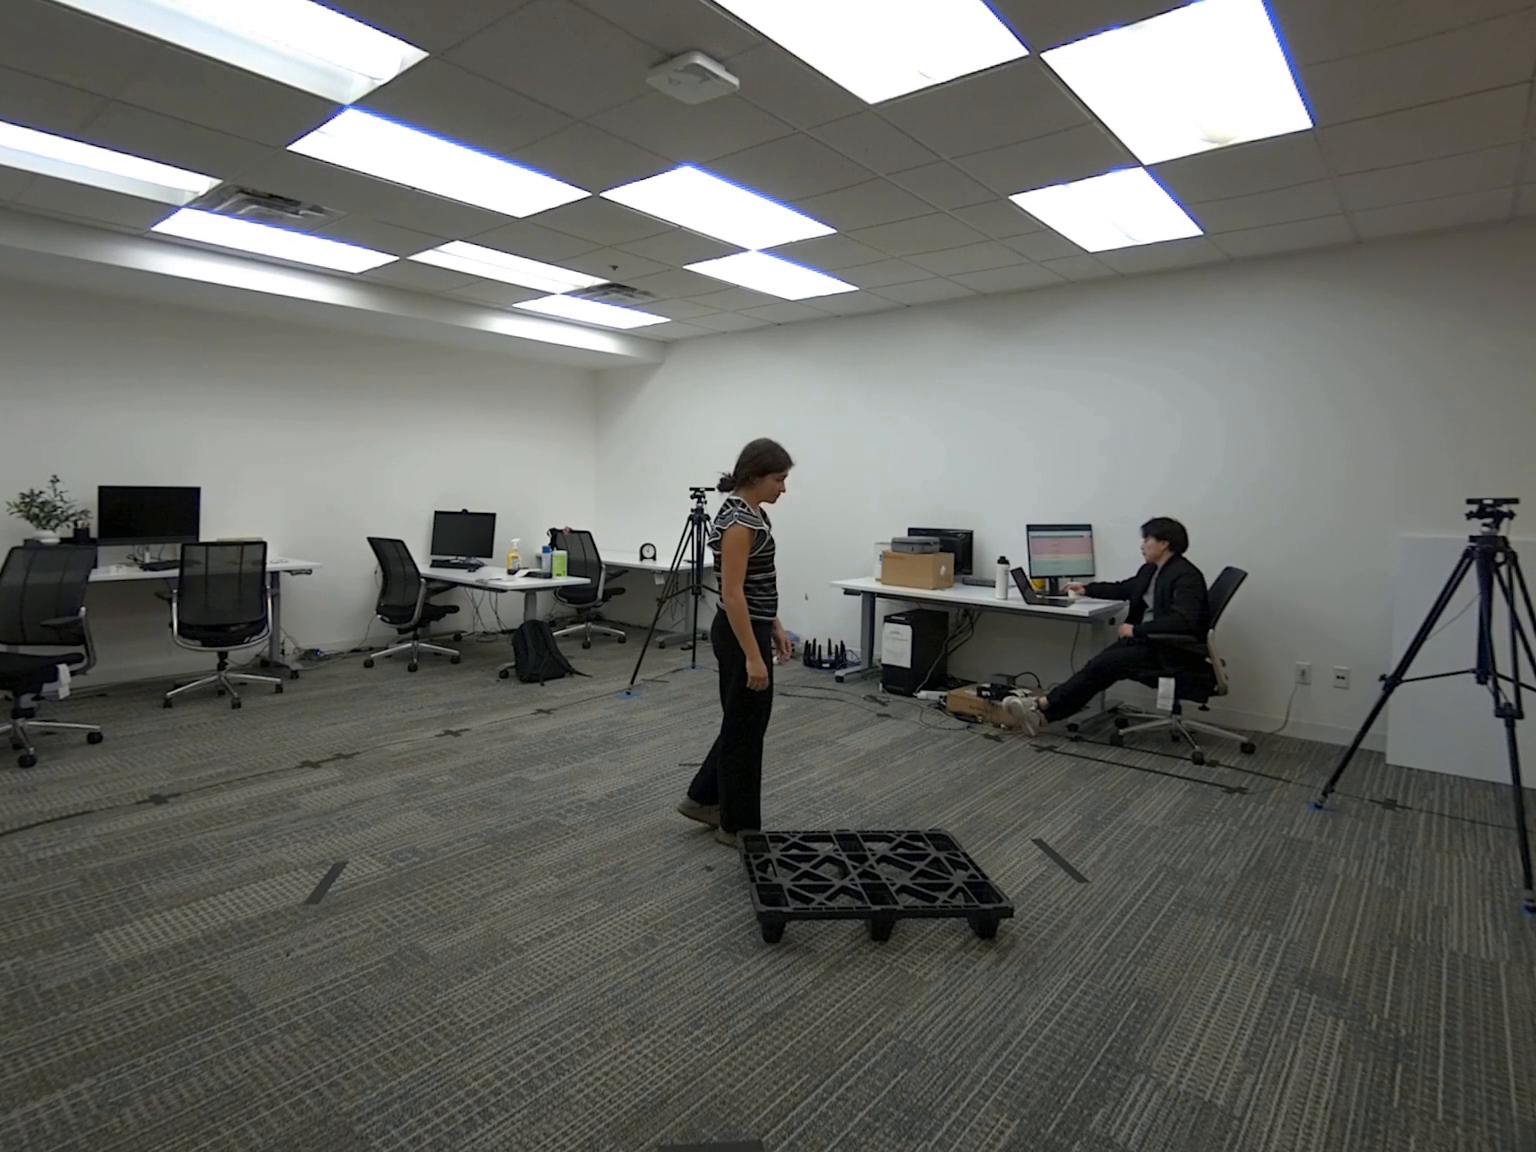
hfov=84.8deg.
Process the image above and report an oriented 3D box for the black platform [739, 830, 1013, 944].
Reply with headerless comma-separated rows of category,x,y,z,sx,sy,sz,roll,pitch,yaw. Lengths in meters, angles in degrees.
black platform,0.315,1.036,2.862,0.801,0.142,0.612,1,6,-6
